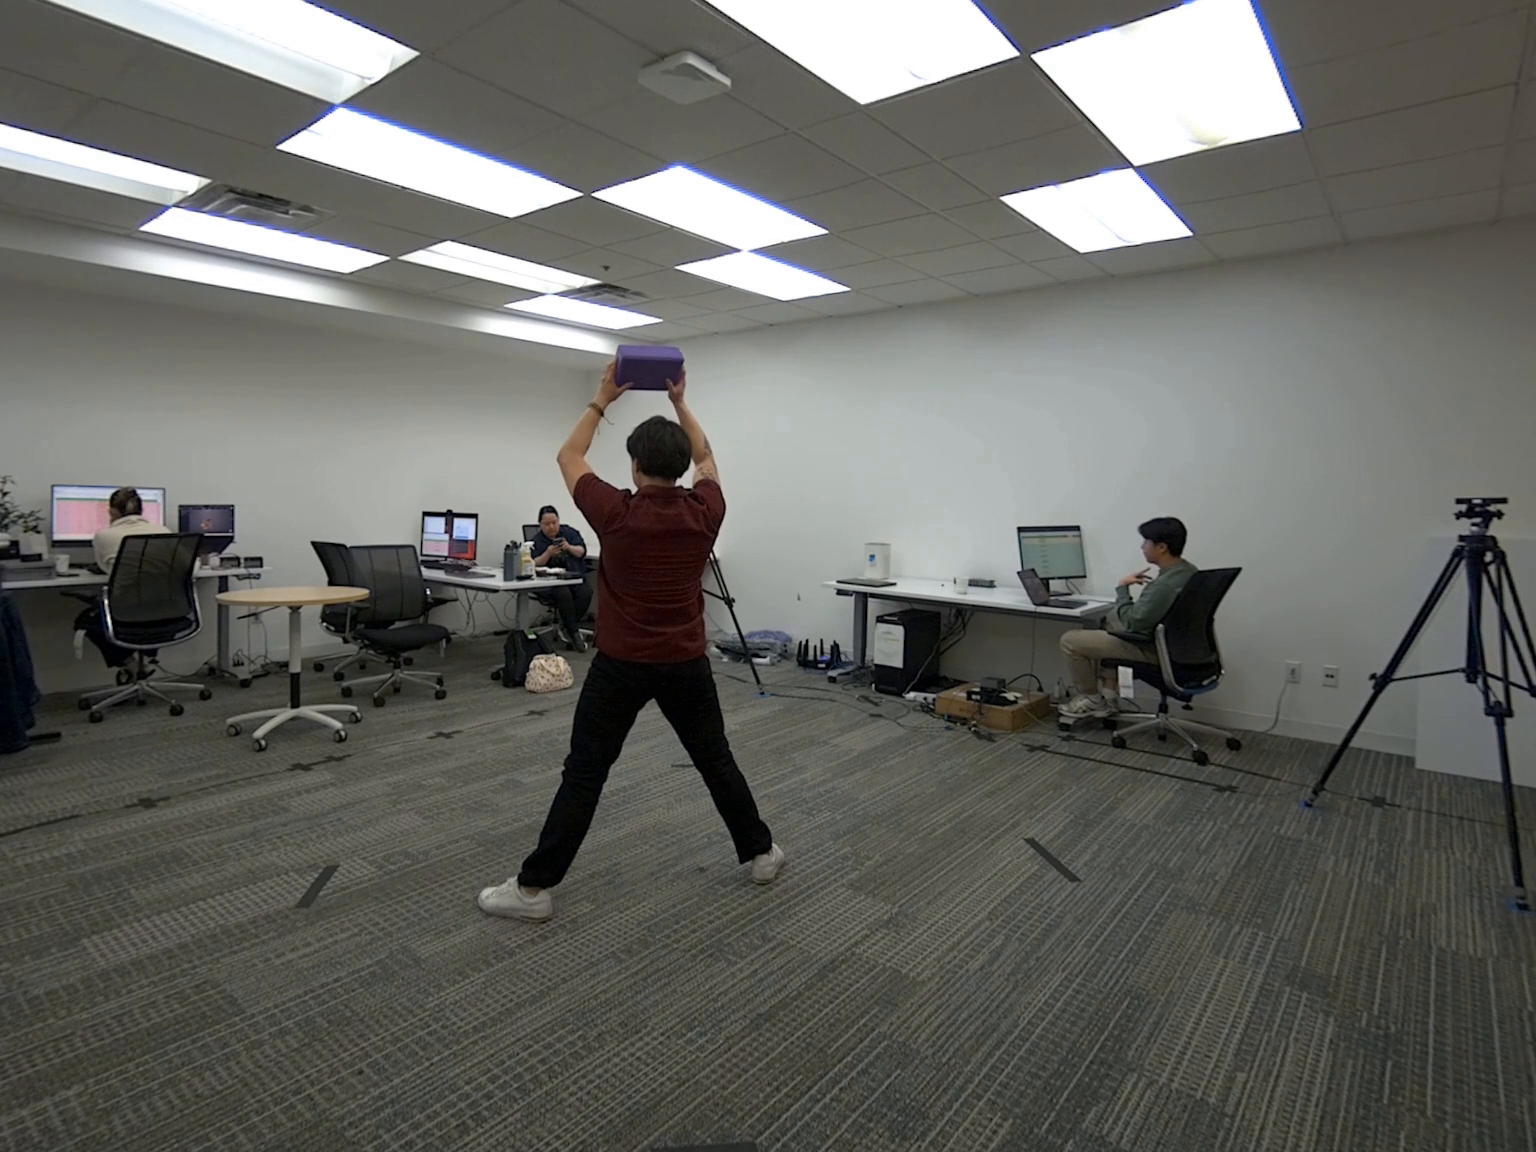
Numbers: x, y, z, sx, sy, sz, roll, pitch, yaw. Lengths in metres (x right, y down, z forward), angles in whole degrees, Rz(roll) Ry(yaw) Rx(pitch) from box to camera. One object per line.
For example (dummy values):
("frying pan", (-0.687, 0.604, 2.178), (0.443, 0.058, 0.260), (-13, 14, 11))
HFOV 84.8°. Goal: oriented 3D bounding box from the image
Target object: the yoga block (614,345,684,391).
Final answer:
("yoga block", (-0.439, -0.725, 2.973), (0.224, 0.079, 0.147), (-5, -38, -25))
